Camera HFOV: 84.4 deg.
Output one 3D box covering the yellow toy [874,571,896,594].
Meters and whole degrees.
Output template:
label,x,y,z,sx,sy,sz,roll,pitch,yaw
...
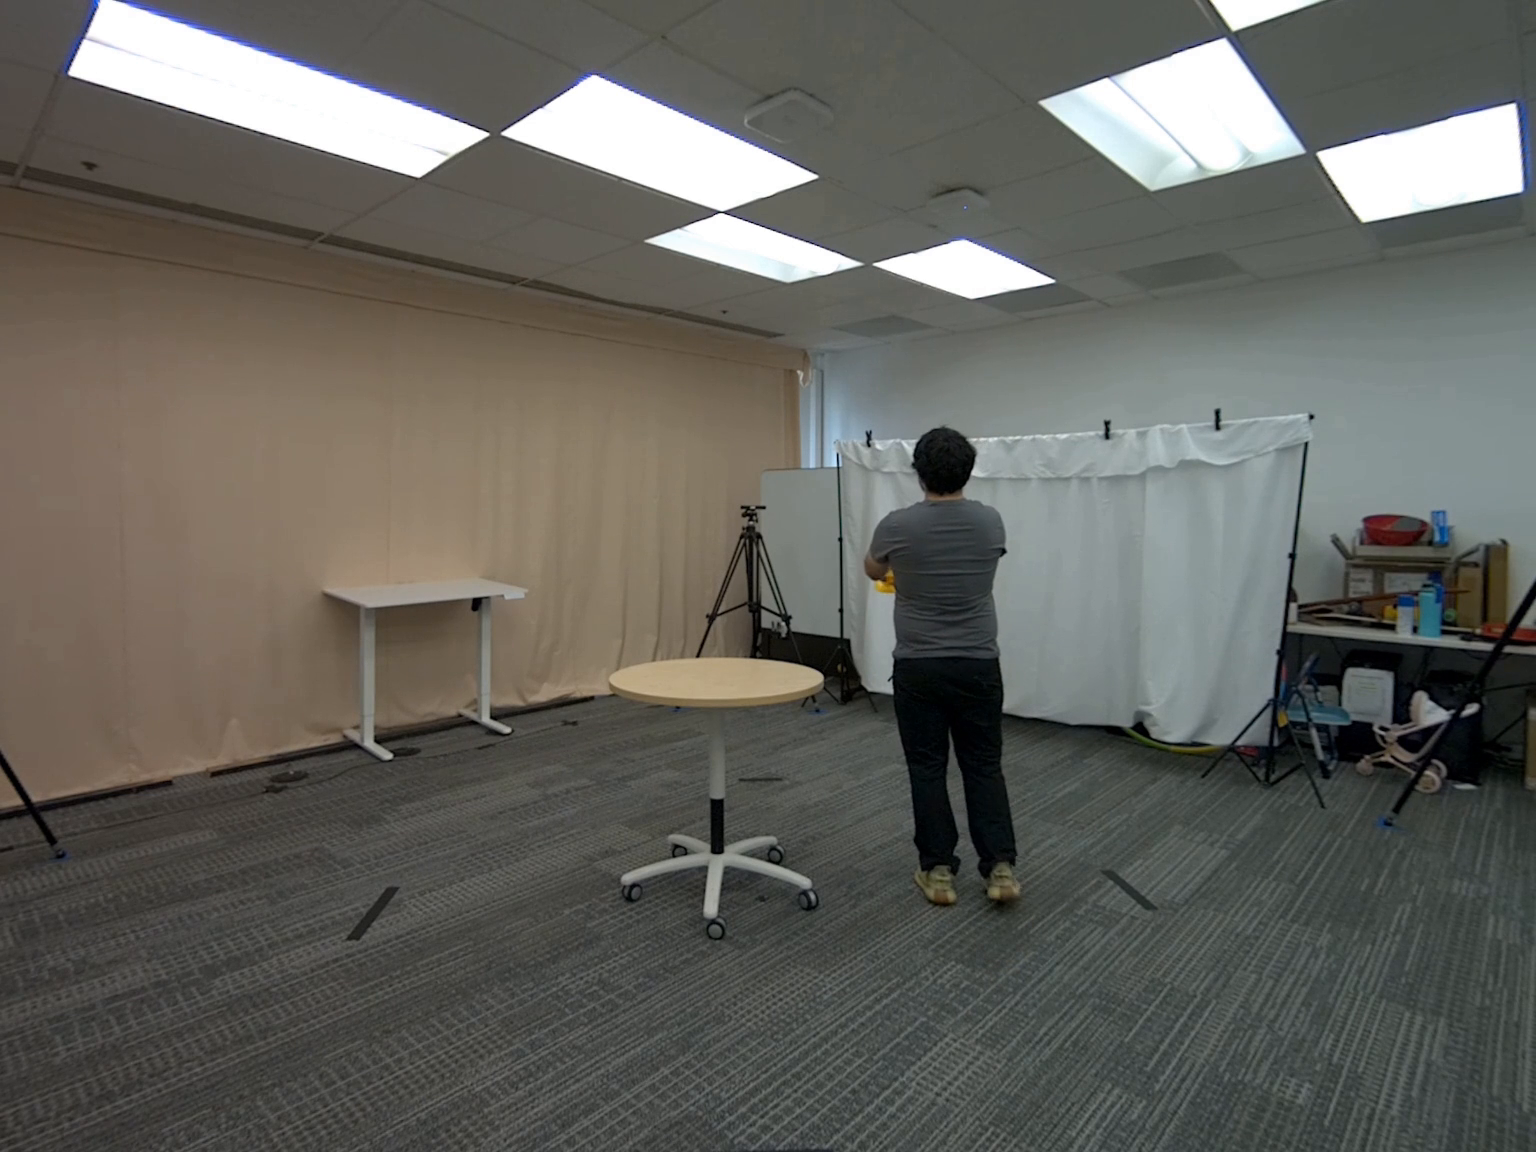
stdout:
label,x,y,z,sx,sy,sz,roll,pitch,yaw
yellow toy,0.562,-0.056,3.572,0.204,0.229,0.195,-3,11,-5
